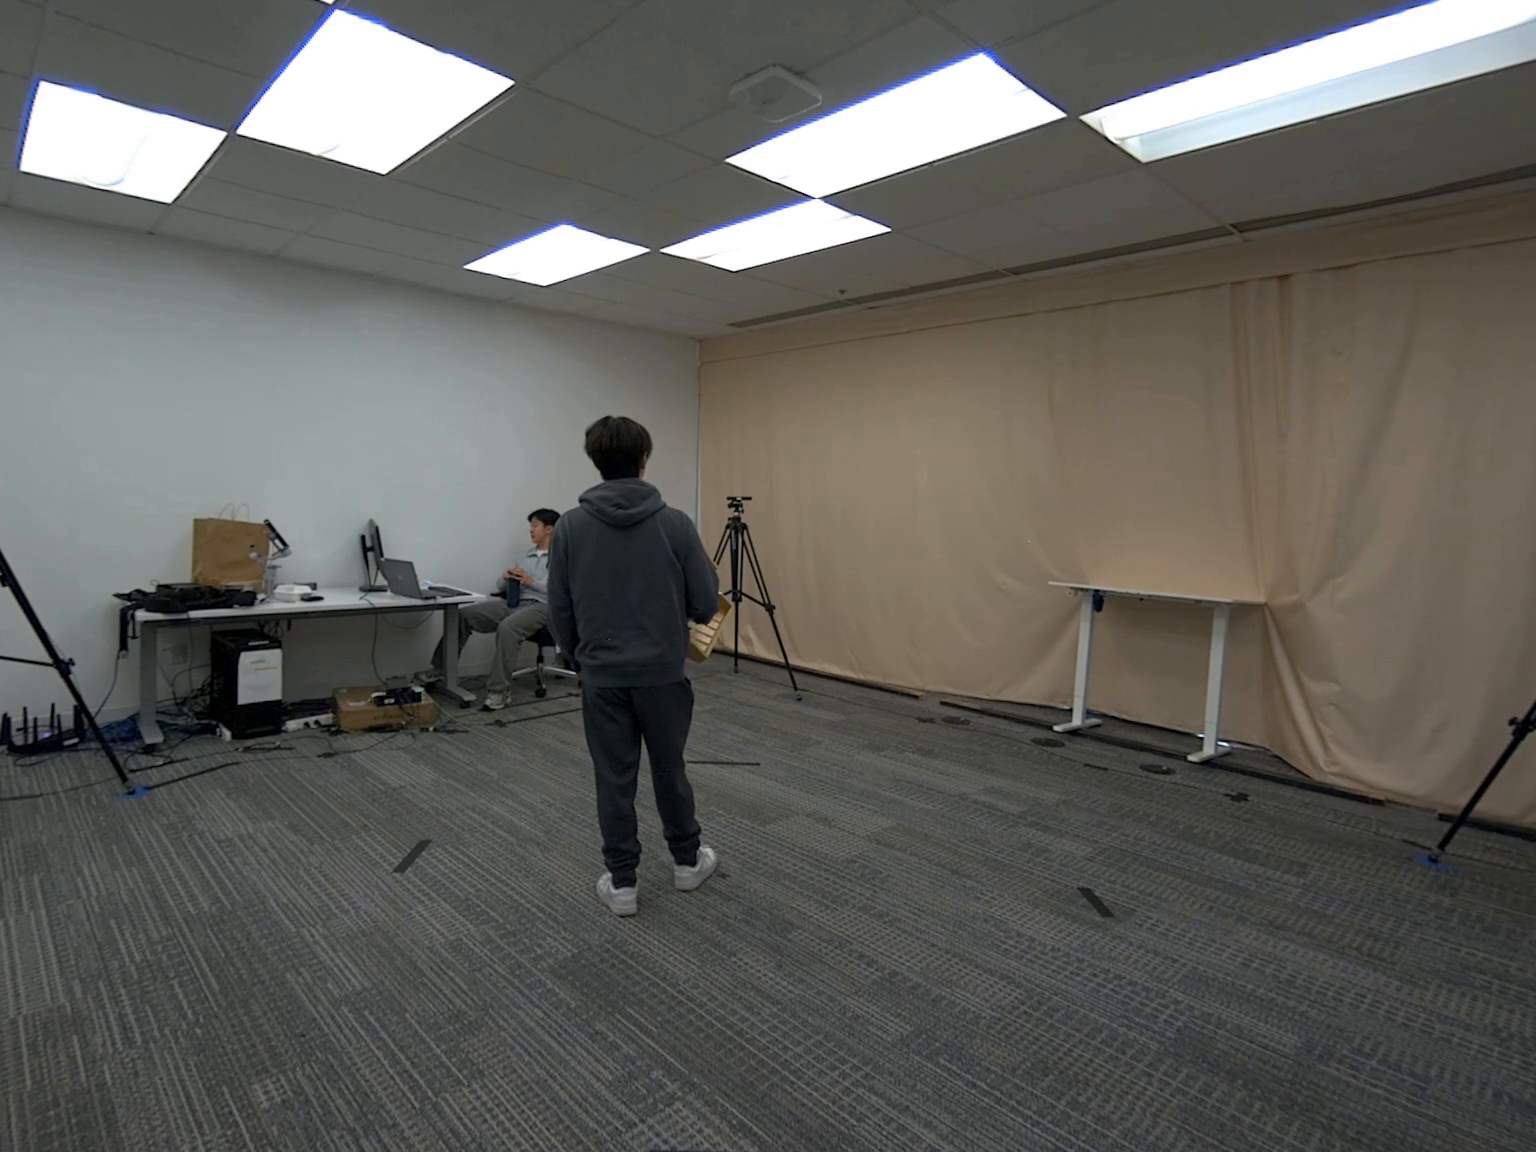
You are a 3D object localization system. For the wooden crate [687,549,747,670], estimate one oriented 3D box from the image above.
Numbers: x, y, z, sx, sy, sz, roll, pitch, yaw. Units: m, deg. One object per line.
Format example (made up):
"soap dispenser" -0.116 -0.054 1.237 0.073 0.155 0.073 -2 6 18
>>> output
"wooden crate" -0.299 0.099 3.236 0.304 0.269 0.327 20 43 7
